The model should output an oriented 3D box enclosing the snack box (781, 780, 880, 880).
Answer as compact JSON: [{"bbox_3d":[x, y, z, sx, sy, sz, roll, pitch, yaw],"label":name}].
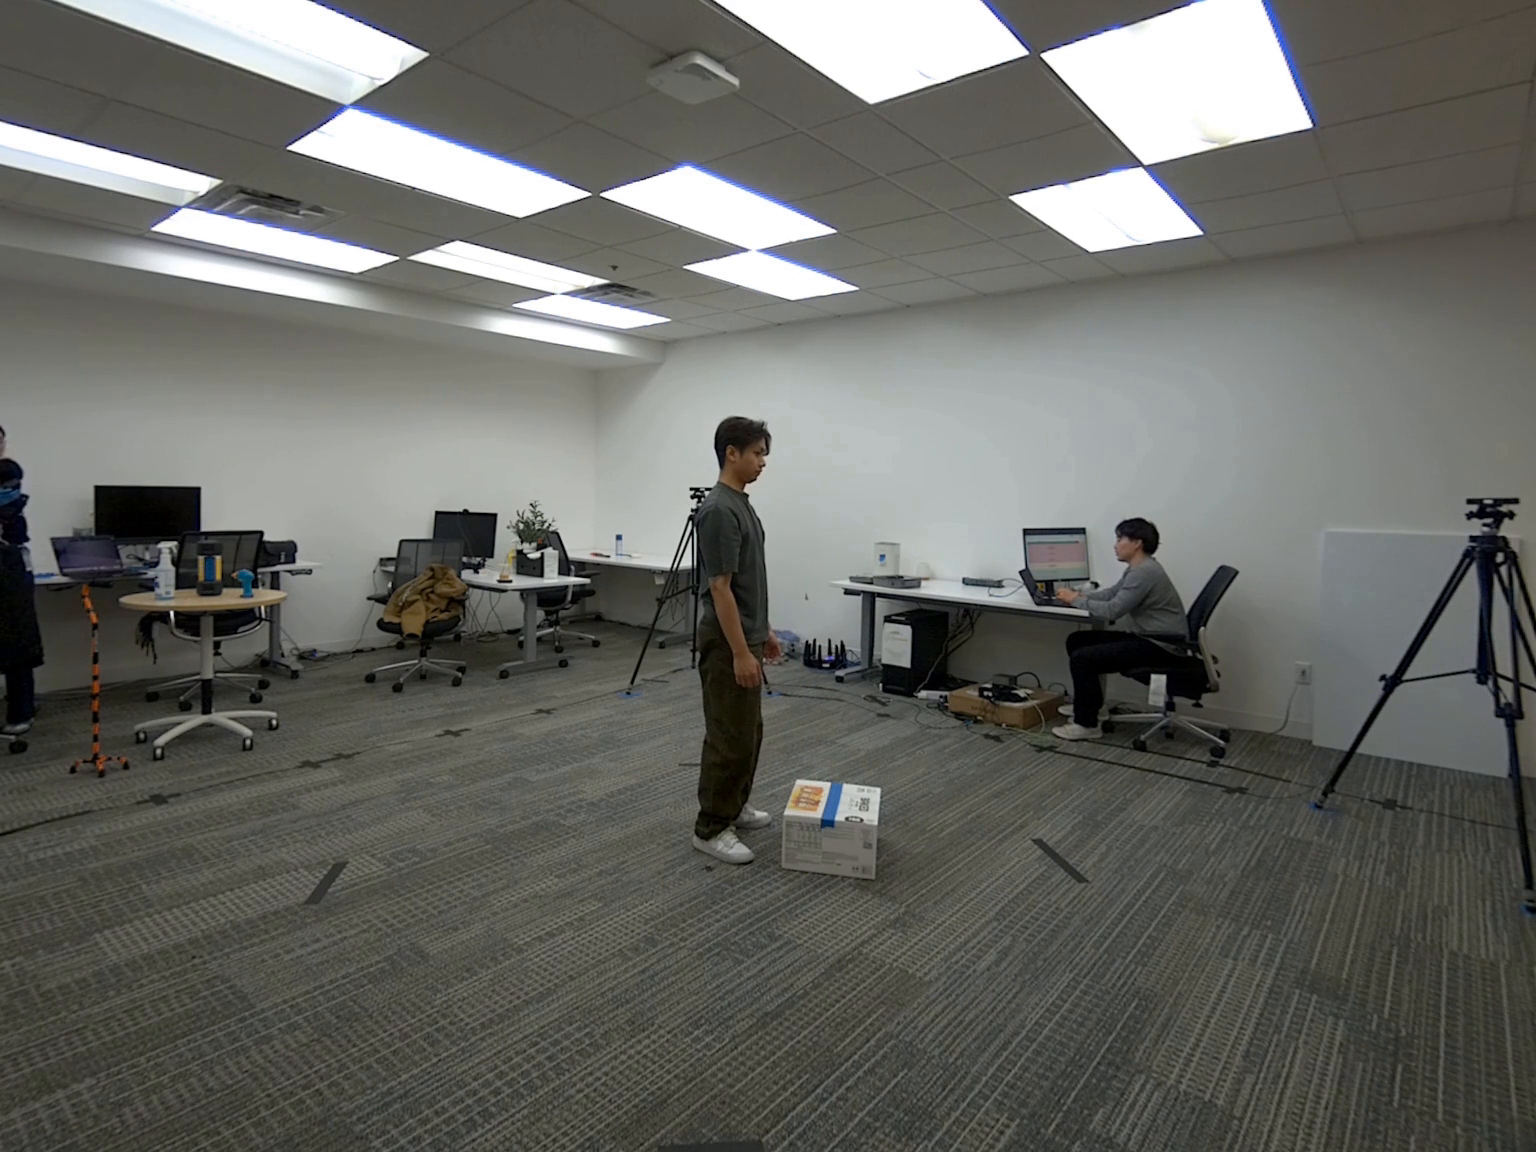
[{"bbox_3d":[0.247,0.962,3.270,0.345,0.205,0.401,2,5,11],"label":"snack box"}]
